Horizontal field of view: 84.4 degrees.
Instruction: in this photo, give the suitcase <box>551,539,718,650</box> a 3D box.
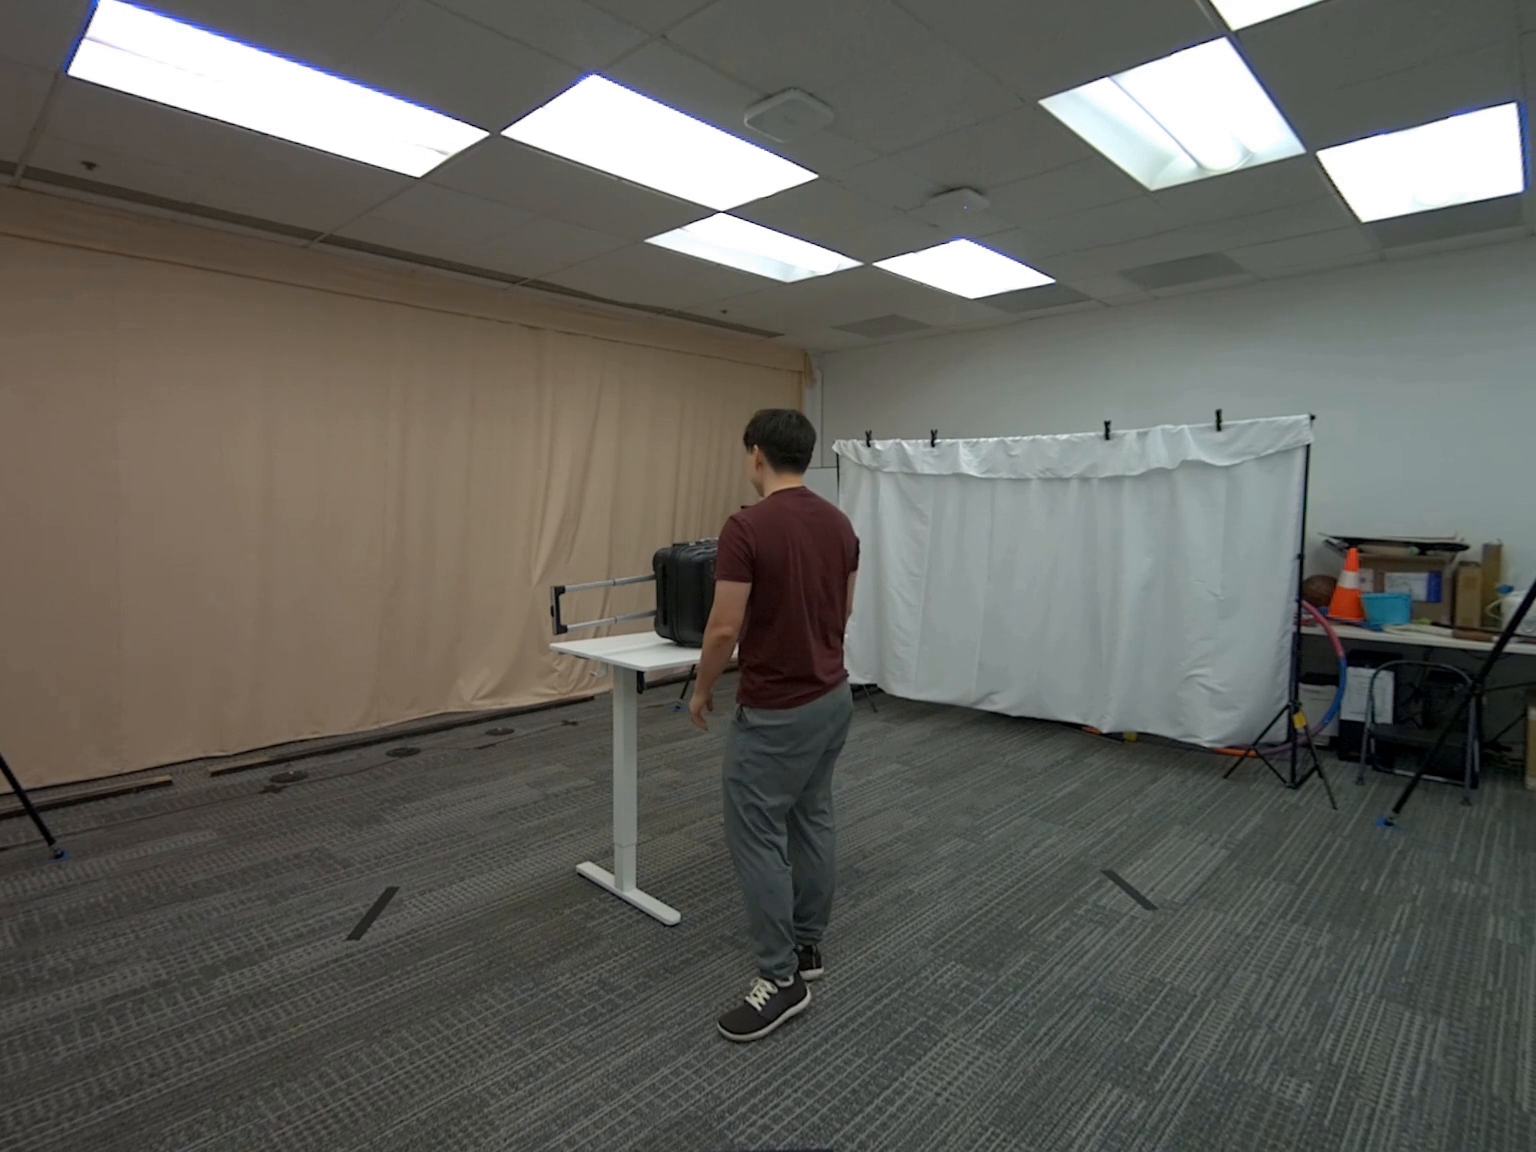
[{"bbox_3d":[-0.307,0.075,3.043,0.265,0.383,0.950,5,6,37],"label":"suitcase"}]
